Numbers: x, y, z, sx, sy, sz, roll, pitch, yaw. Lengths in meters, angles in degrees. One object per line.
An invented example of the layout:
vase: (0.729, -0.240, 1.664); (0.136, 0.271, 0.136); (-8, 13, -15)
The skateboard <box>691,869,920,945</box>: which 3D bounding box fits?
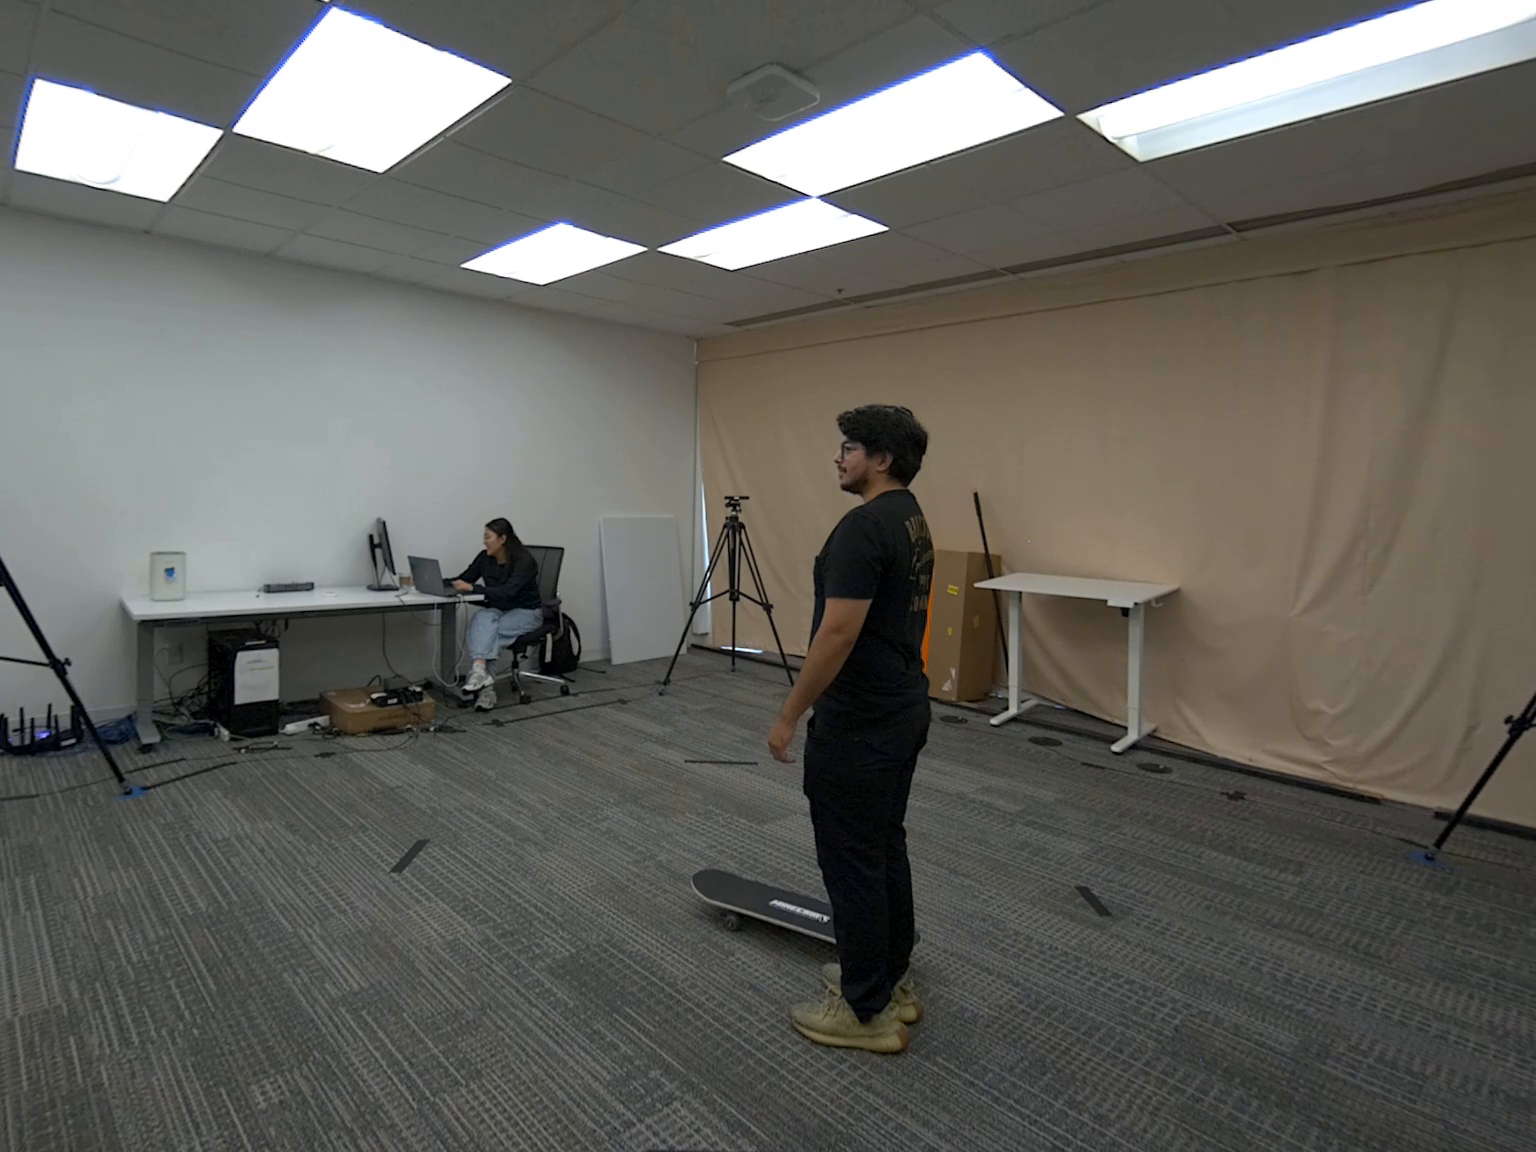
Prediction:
skateboard: (0.088, 1.093, 2.667); (0.803, 0.110, 0.190); (5, 7, 31)
